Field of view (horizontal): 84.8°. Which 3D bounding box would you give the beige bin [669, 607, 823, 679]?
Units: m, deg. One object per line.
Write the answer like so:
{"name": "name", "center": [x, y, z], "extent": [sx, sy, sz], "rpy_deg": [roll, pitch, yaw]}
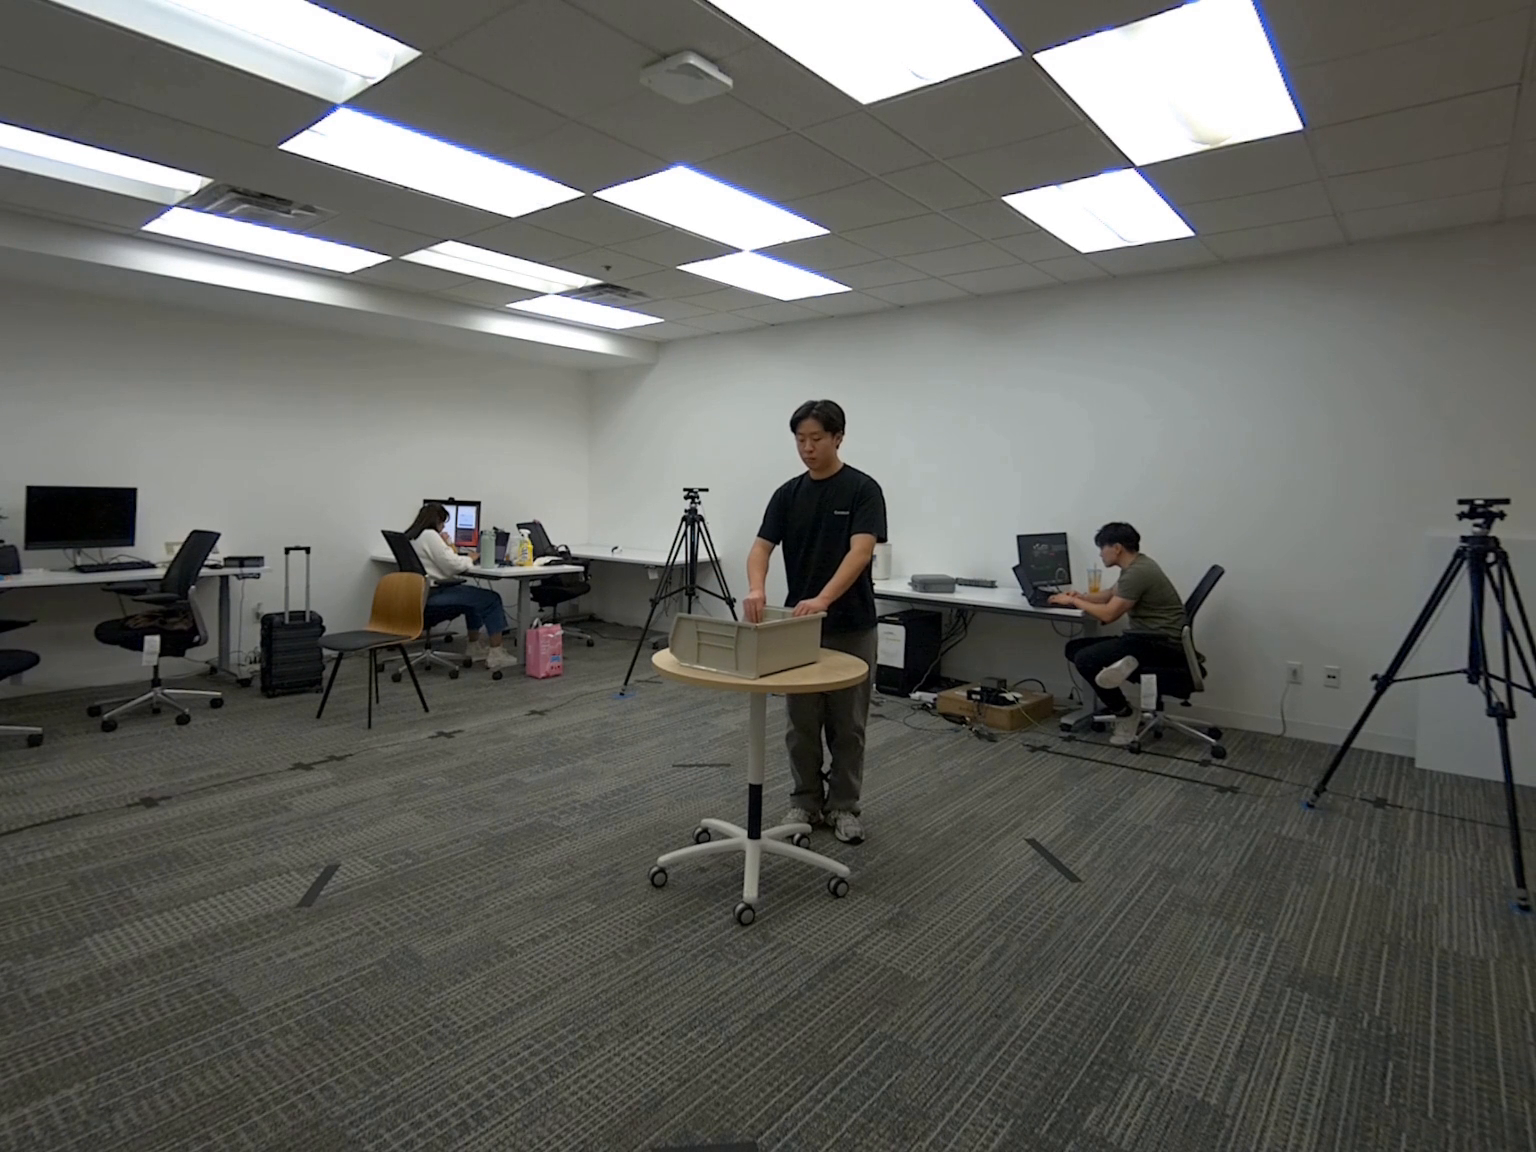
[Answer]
{"name": "beige bin", "center": [-0.082, 0.214, 2.974], "extent": [0.390, 0.188, 0.410], "rpy_deg": [7, 7, 37]}
